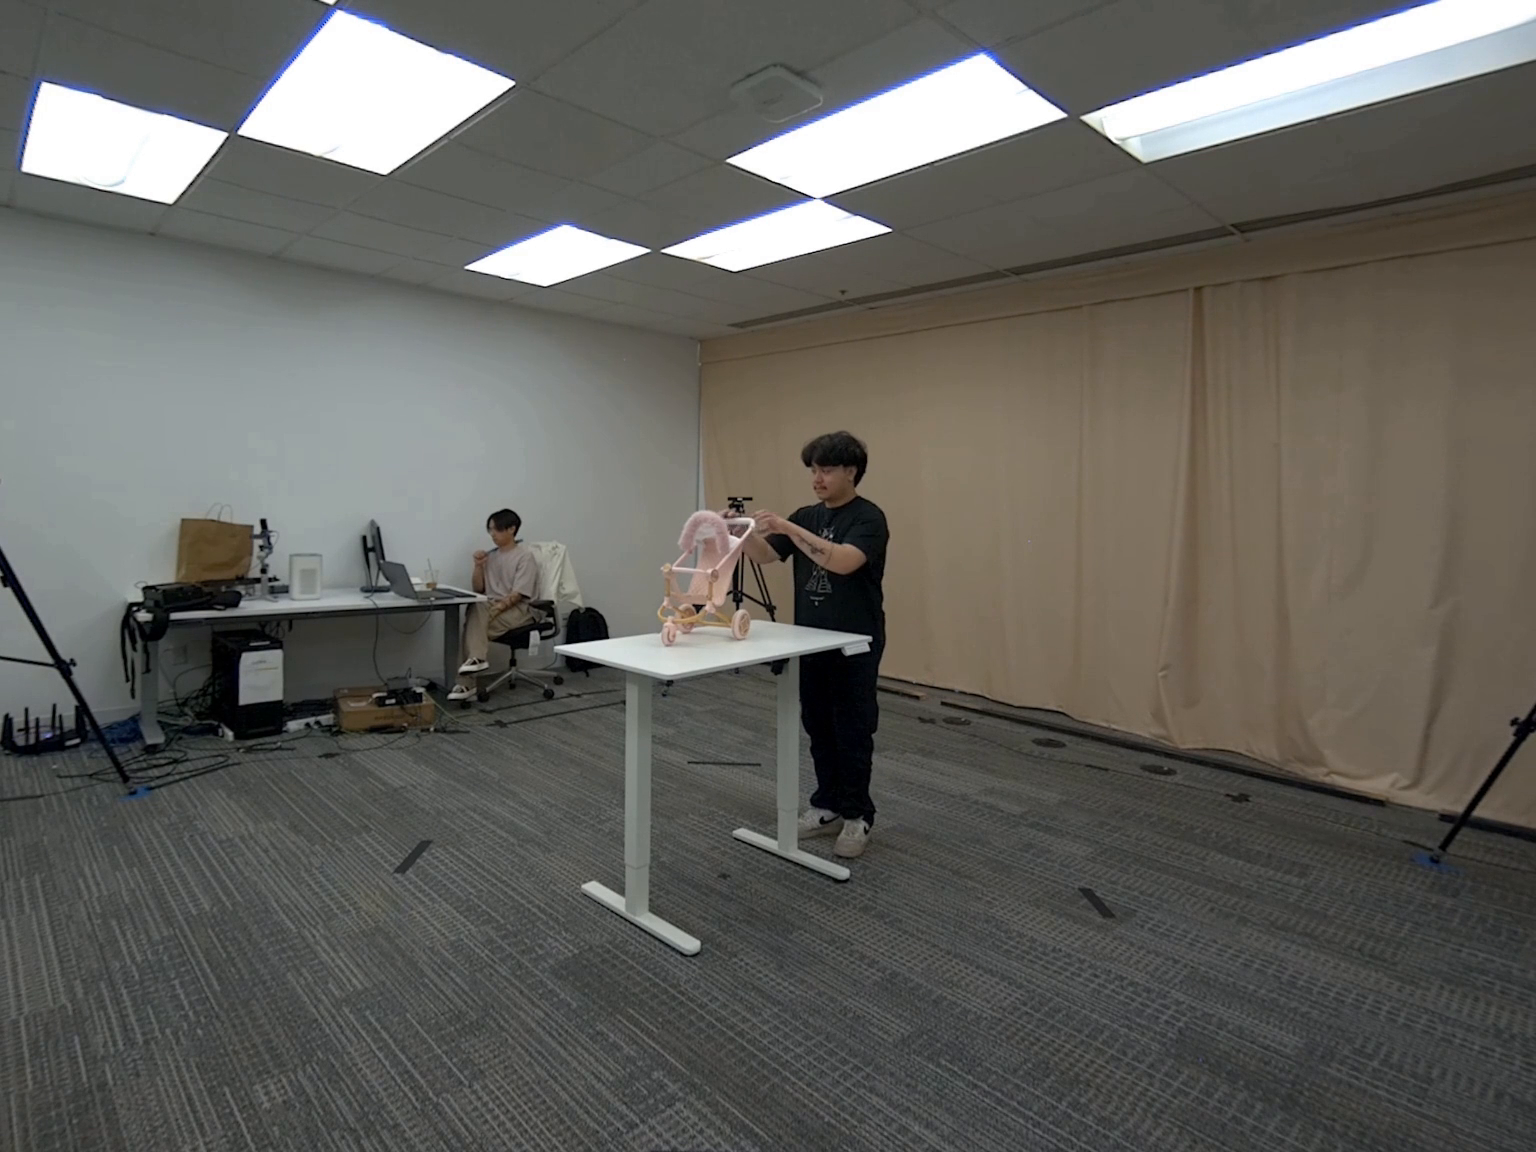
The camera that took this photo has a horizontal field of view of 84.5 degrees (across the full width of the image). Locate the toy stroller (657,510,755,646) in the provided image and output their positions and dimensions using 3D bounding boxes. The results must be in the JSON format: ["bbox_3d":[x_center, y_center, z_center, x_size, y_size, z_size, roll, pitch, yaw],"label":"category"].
[{"bbox_3d":[-0.245,0.006,3.039,0.288,0.538,0.331,3,-11,37],"label":"toy stroller"}]
